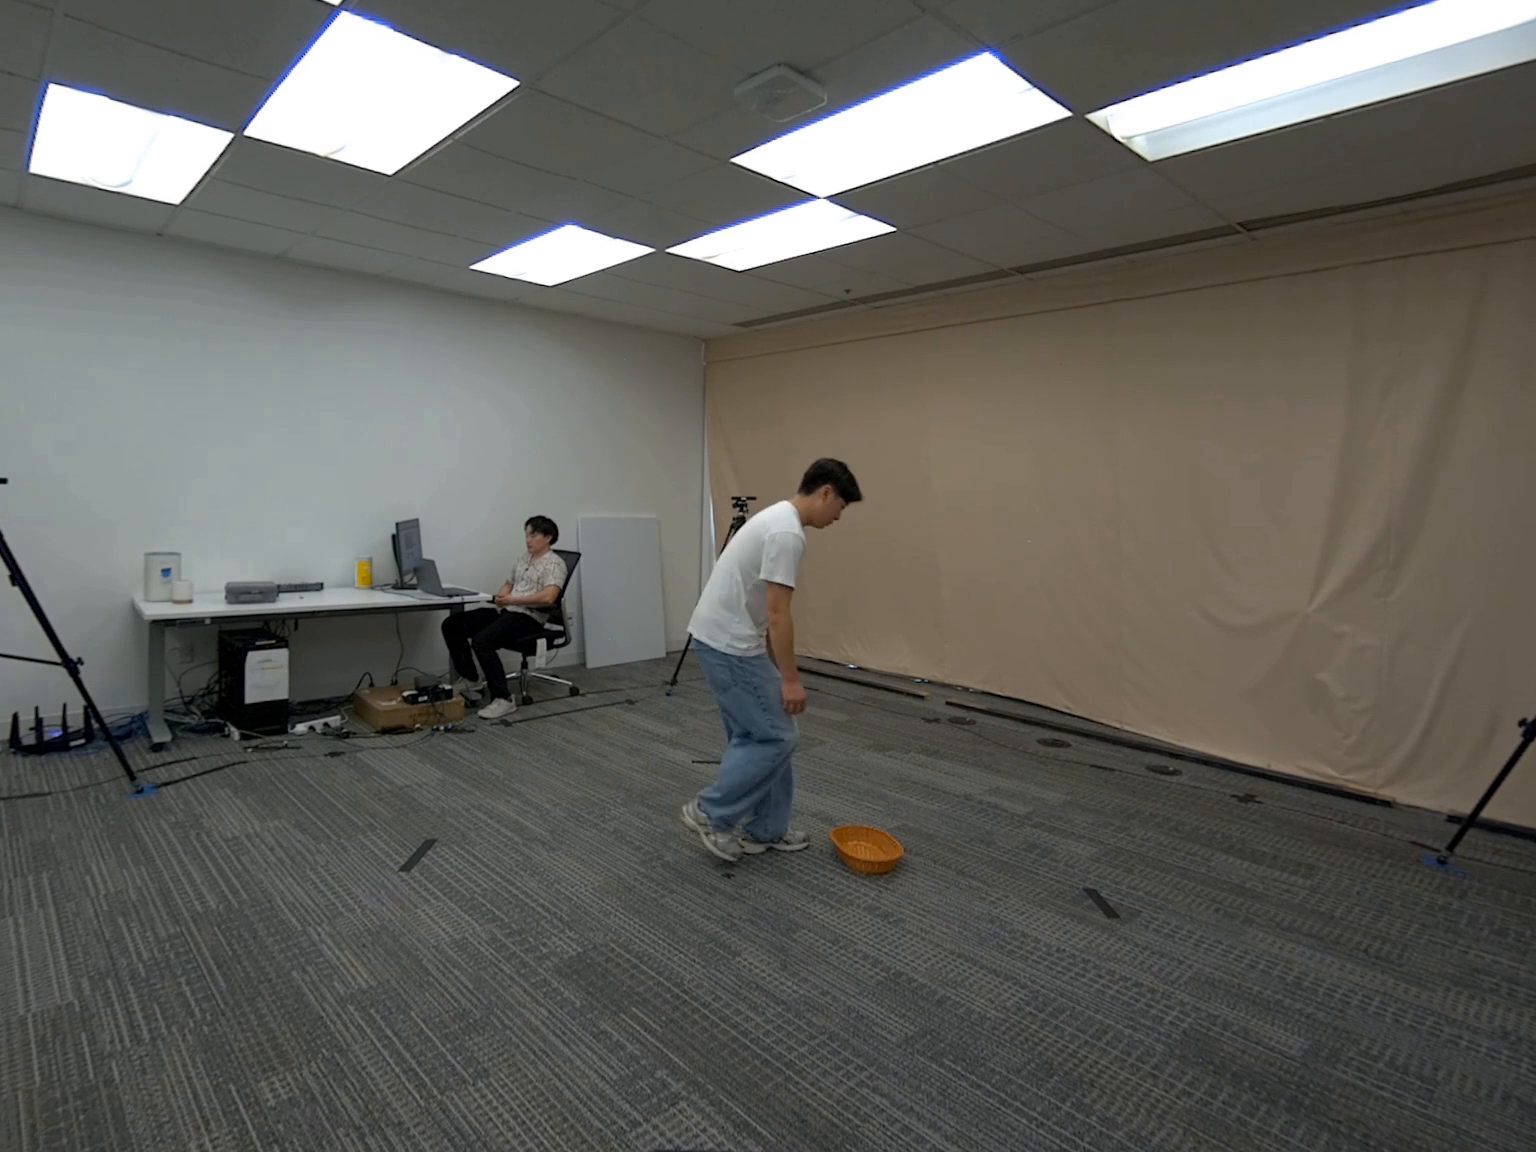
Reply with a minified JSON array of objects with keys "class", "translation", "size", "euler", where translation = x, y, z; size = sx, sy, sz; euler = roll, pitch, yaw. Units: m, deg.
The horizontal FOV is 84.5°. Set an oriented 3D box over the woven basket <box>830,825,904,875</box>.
[{"class":"woven basket","translation":[0.369,1.061,3.279],"size":[0.249,0.073,0.355],"euler":[0,5,-16]}]
